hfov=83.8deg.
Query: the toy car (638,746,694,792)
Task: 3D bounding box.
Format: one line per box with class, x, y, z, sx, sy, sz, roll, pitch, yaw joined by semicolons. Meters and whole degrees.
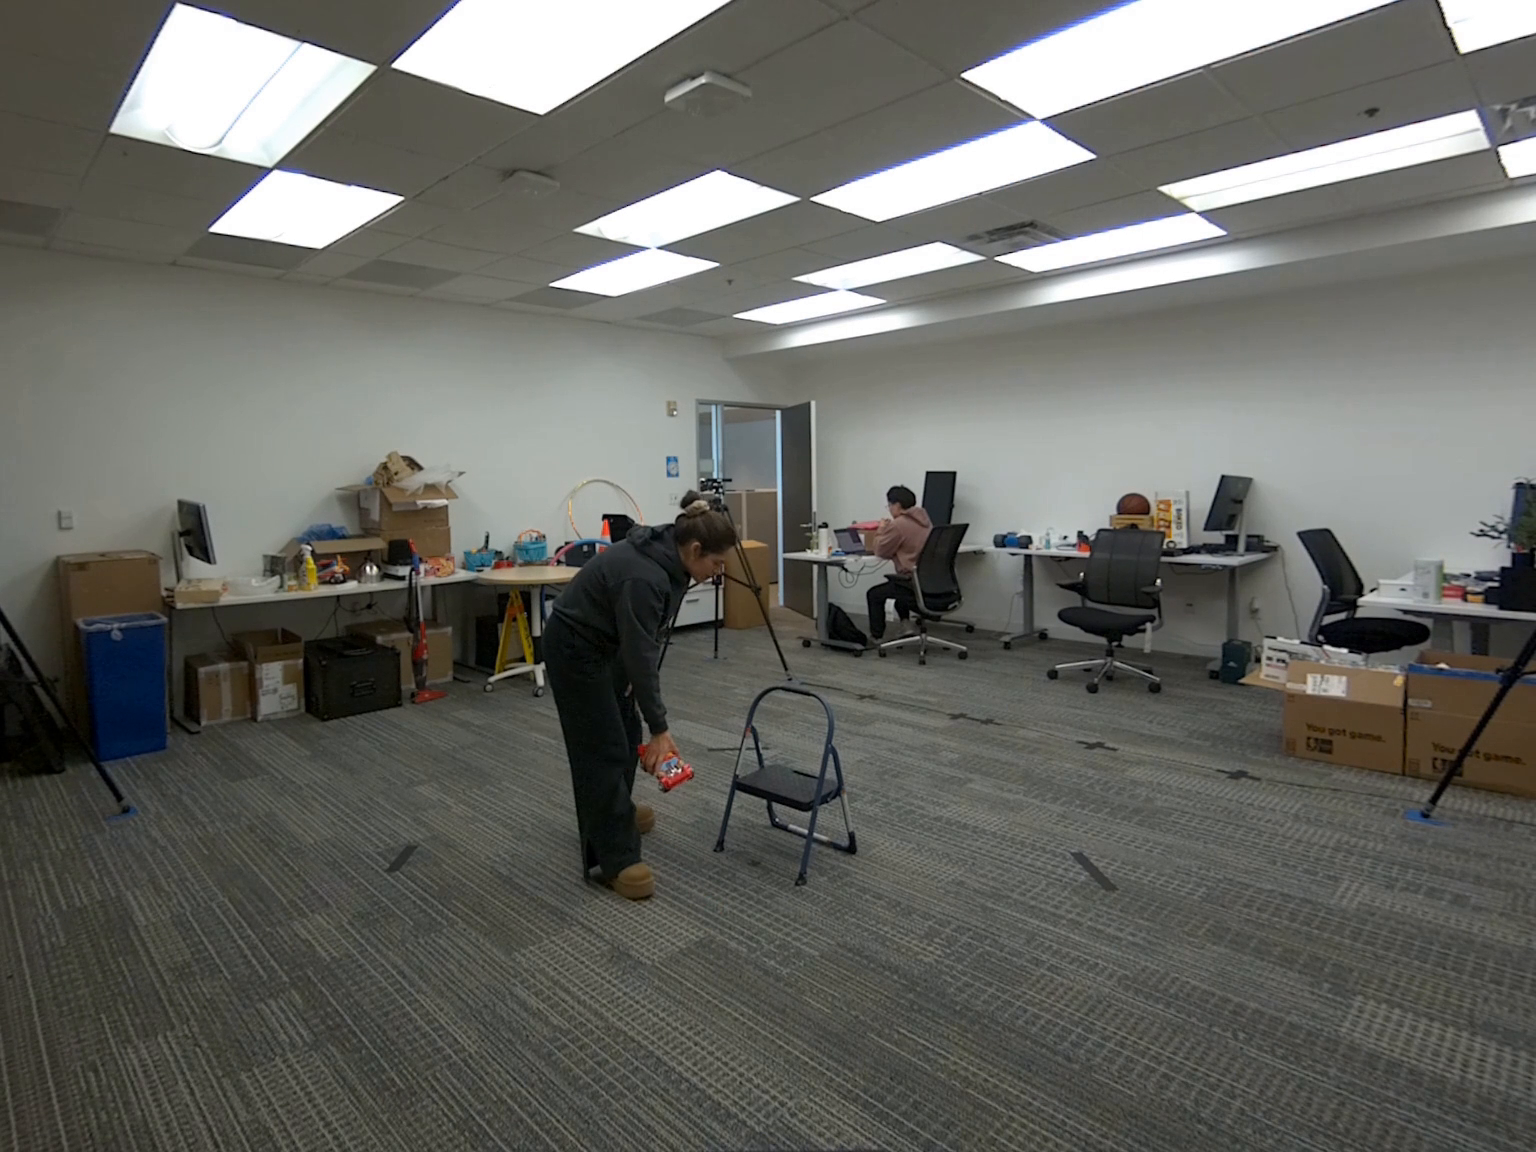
toy car;-0.351;0.638;2.873;0.129;0.081;0.265;-24;36;-24
